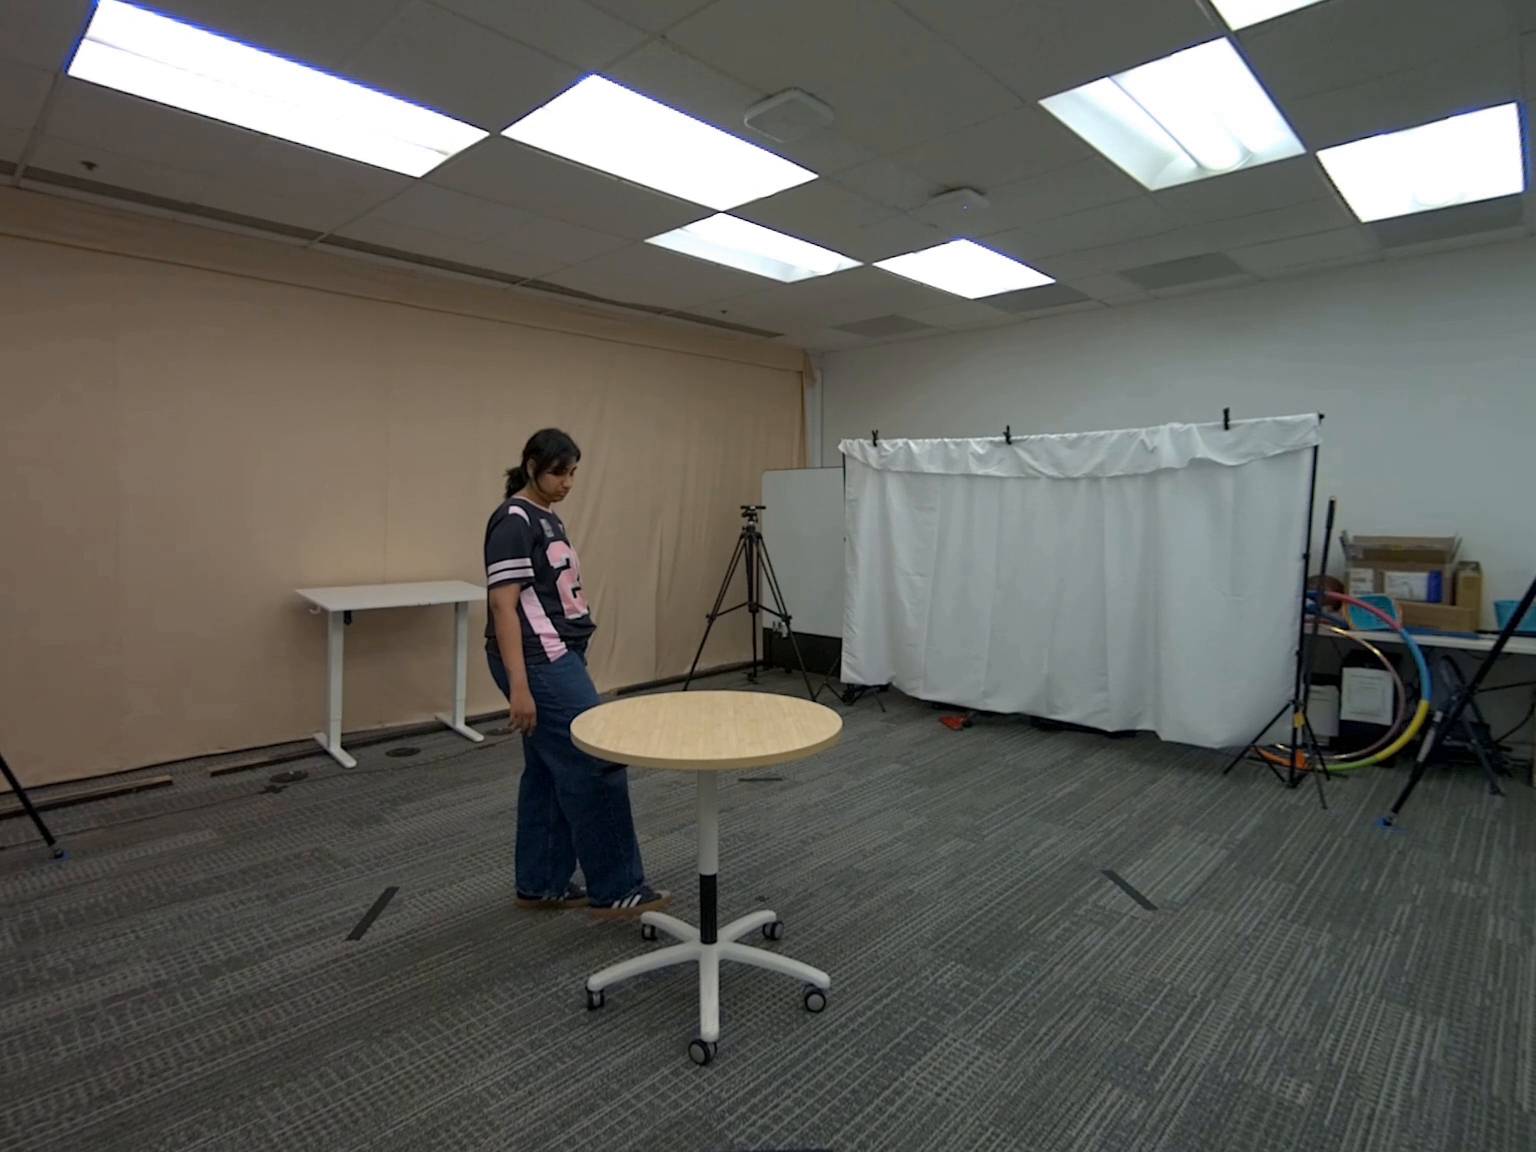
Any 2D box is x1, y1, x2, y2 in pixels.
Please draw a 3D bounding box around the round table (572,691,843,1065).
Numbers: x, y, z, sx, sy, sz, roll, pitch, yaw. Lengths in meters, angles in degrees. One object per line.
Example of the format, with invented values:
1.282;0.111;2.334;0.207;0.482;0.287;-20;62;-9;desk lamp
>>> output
-0.167;0.806;2.411;0.763;0.792;0.766;0;4;-2;round table
